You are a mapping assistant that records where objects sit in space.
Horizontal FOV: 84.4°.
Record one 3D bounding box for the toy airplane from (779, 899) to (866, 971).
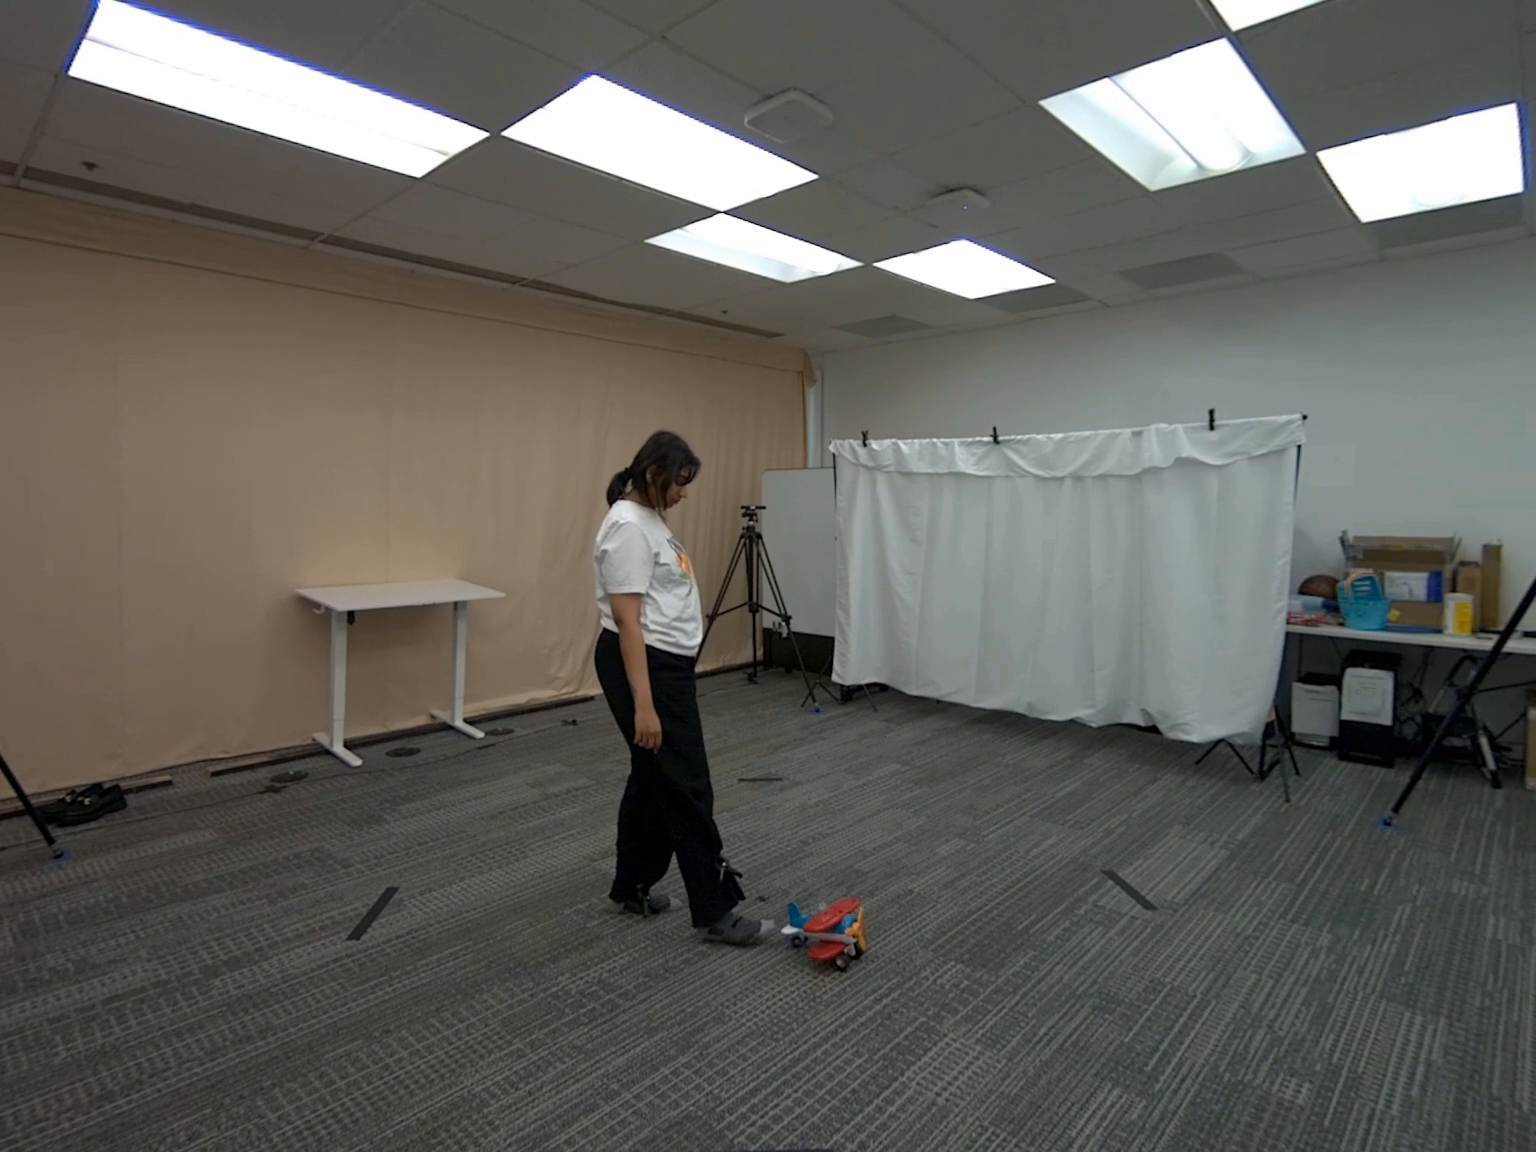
[{"bbox_3d":[0.167,1.097,2.593,0.262,0.156,0.249,2,5,10],"label":"toy airplane"}]
